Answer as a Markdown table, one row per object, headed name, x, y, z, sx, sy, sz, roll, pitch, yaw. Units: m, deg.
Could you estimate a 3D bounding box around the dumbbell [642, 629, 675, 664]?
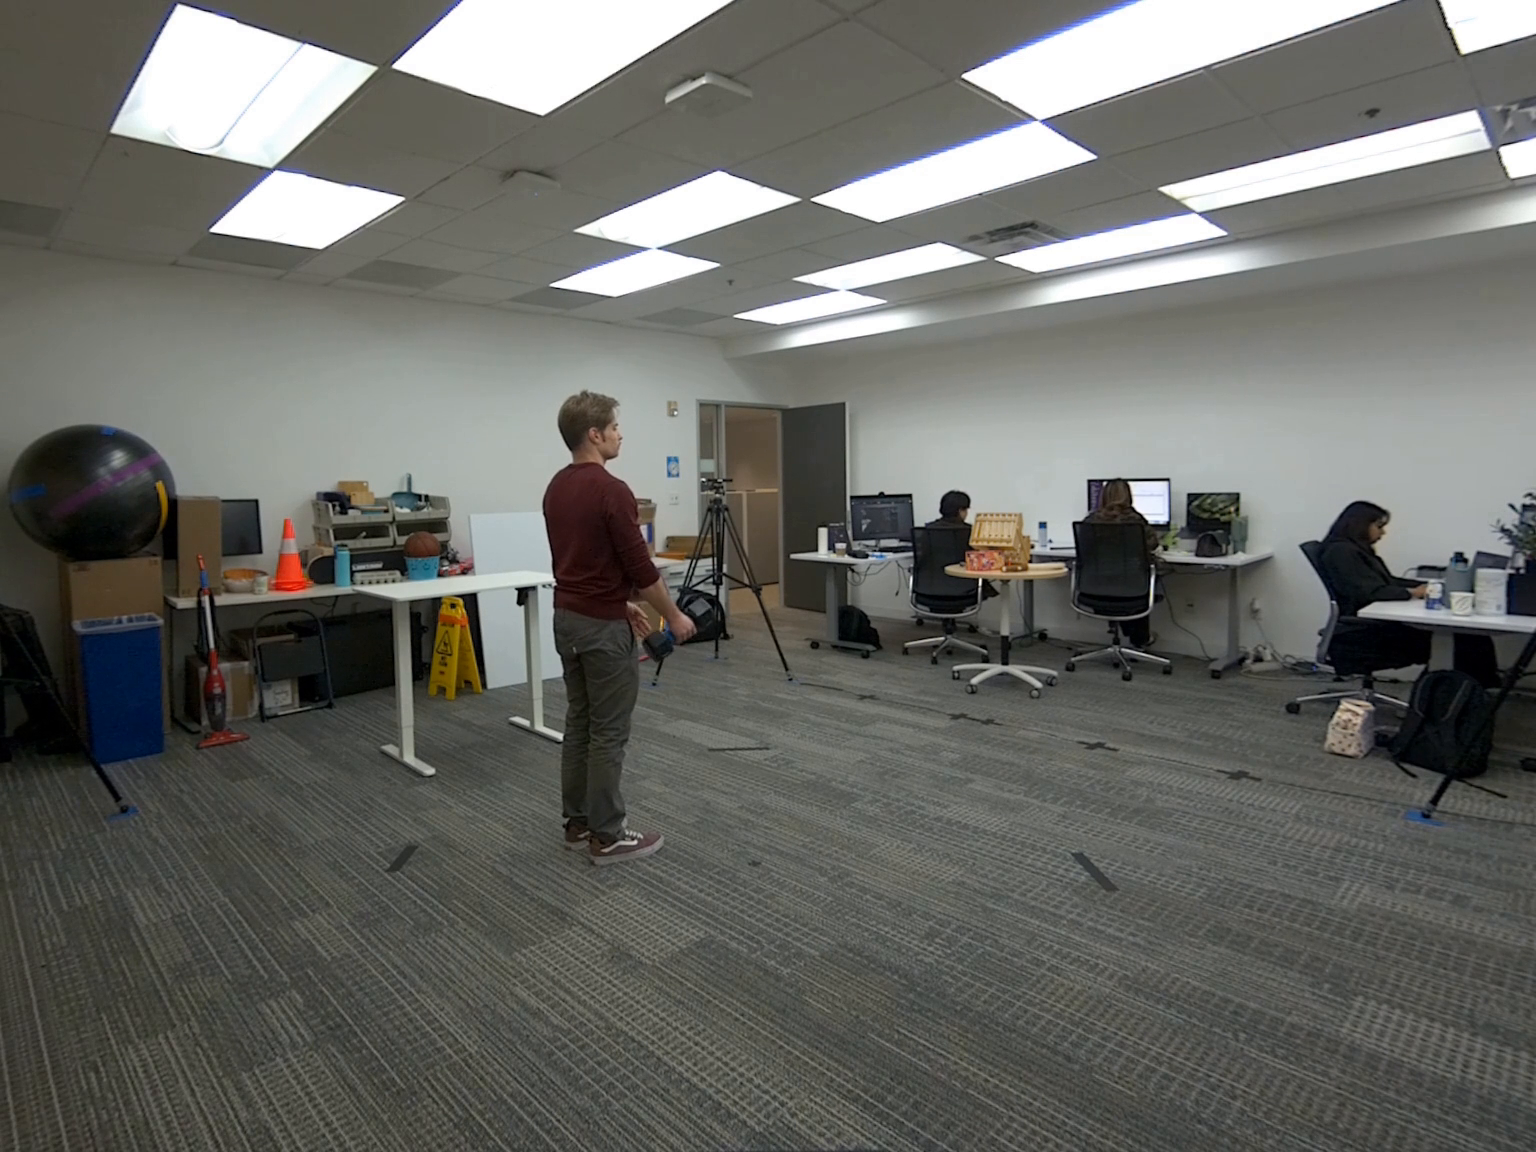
| name | x | y | z | sx | sy | sz | roll | pitch | yaw |
| --- | --- | --- | --- | --- | --- | --- | --- | --- | --- |
| dumbbell | -0.356 | 0.212 | 3.295 | 0.292 | 0.119 | 0.112 | -36 | 28 | -22 |
